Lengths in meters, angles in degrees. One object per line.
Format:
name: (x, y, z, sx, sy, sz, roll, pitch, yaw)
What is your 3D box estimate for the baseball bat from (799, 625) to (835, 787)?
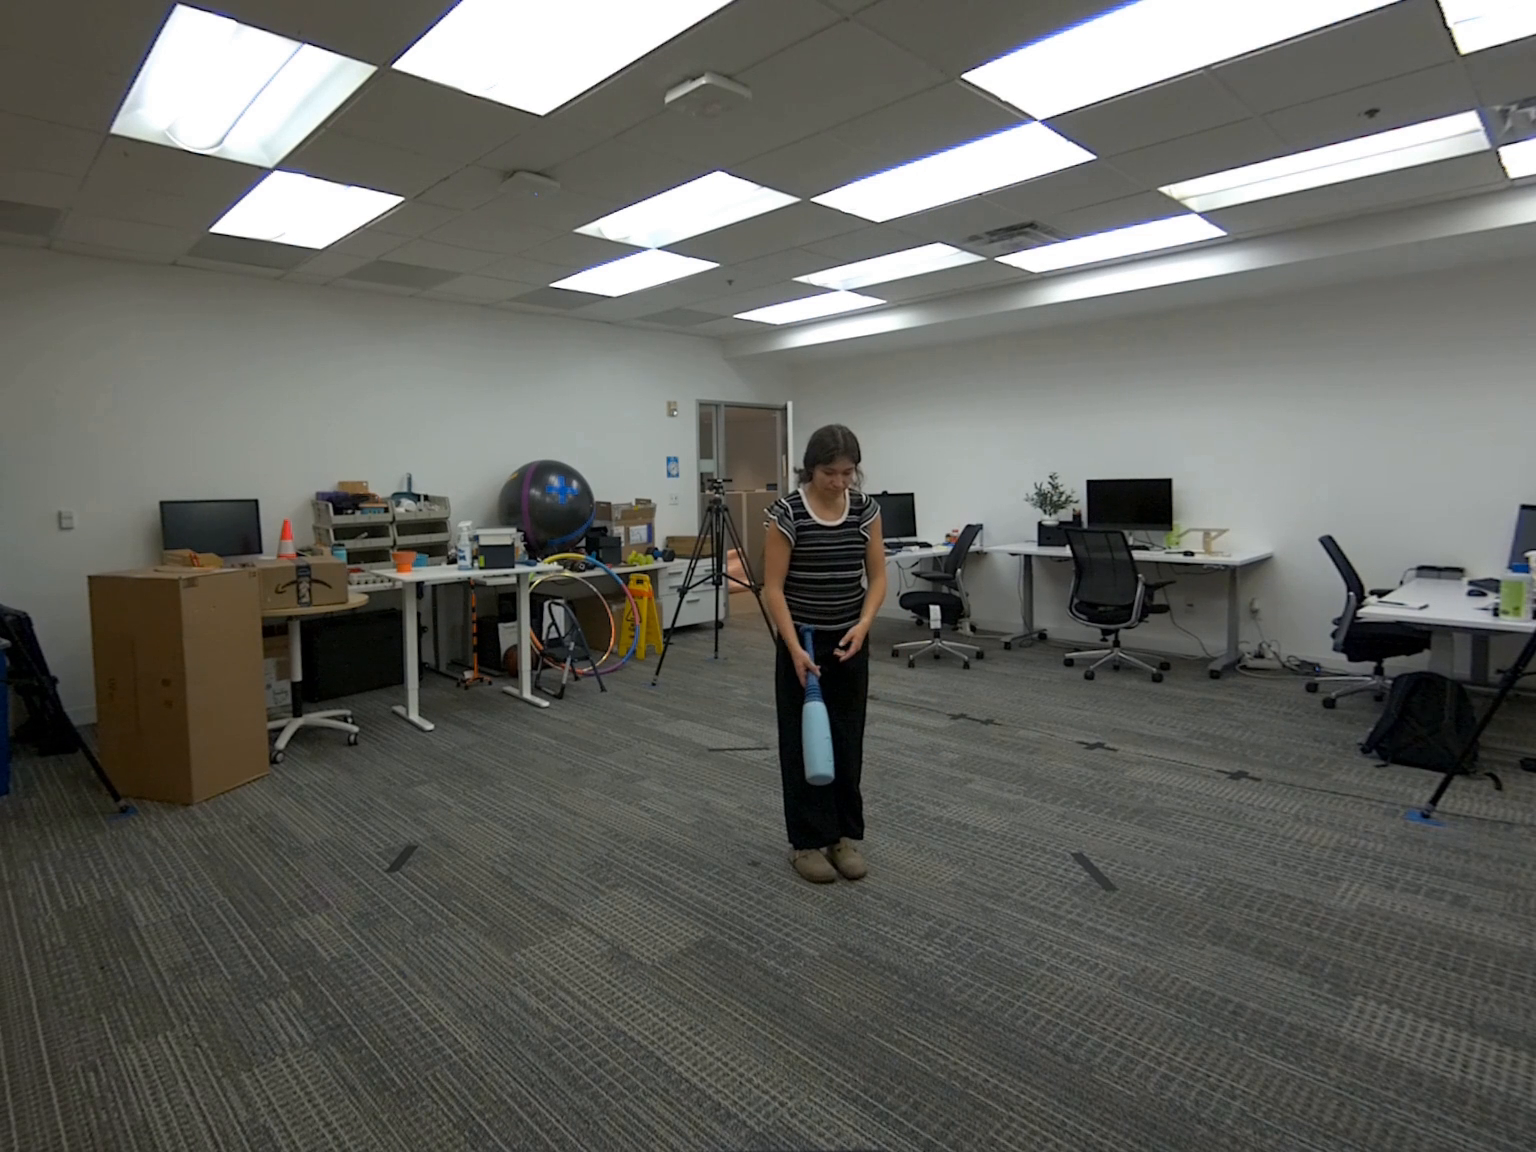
baseball bat: (0.142, 0.400, 2.748, 0.089, 0.558, 0.087, -1, -37, -3)
